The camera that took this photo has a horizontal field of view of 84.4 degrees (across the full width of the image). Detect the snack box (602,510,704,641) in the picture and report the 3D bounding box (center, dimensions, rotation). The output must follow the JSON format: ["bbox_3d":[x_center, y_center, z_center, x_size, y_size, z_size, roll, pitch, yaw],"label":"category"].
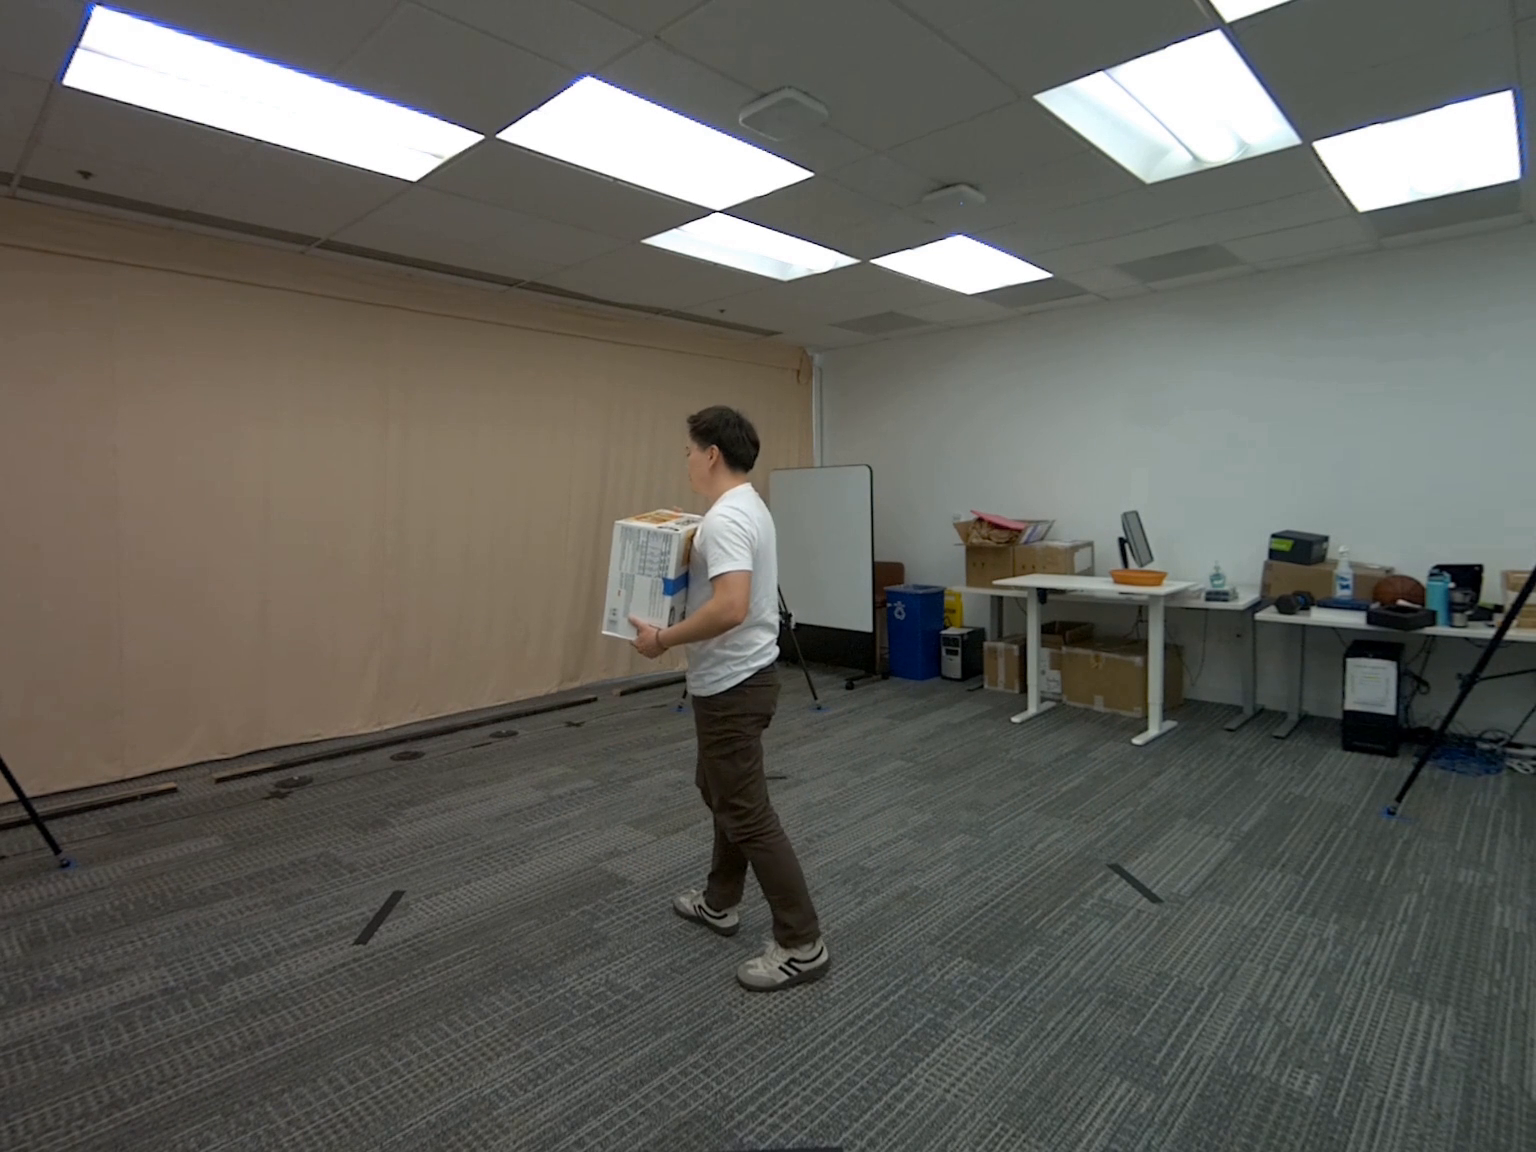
[{"bbox_3d":[-0.322,-0.010,2.613,0.209,0.339,0.401,8,9,12],"label":"snack box"}]
